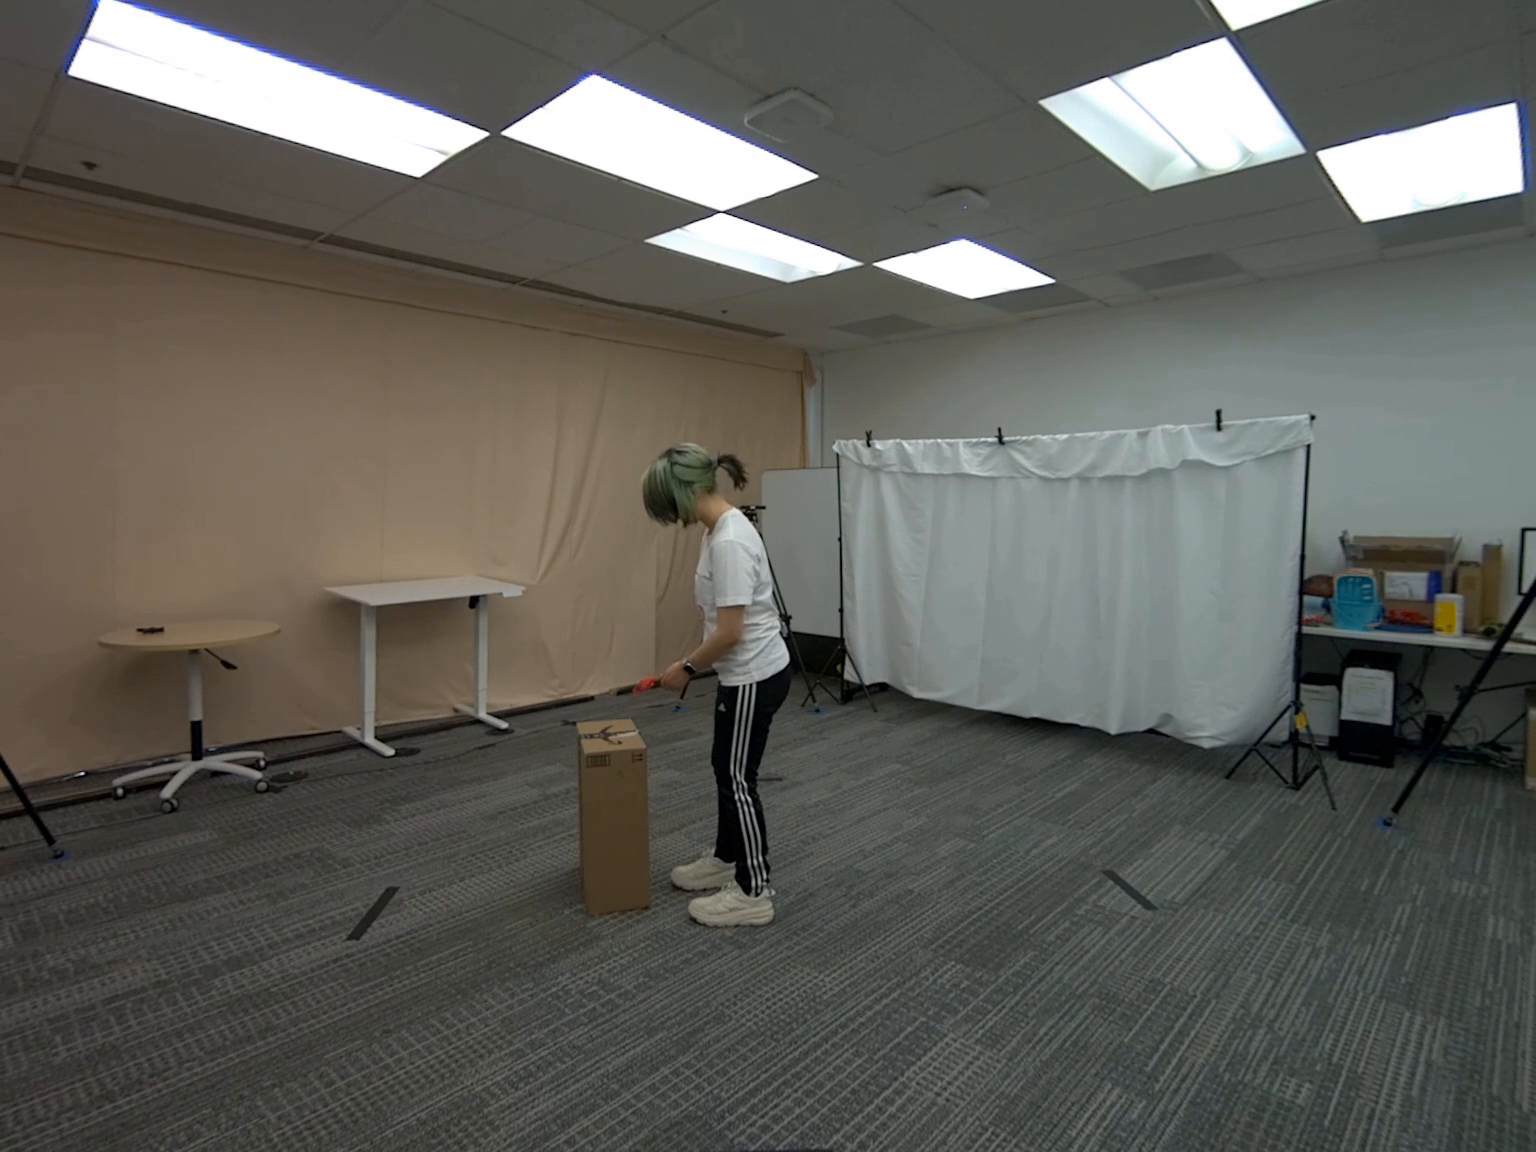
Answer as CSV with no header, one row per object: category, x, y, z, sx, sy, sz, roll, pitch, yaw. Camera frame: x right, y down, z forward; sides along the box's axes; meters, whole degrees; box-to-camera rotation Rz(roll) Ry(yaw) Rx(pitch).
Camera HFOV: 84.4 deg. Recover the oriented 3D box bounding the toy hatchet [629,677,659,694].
toy hatchet,-0.360,0.373,2.890,0.133,0.030,0.261,-31,-19,26
